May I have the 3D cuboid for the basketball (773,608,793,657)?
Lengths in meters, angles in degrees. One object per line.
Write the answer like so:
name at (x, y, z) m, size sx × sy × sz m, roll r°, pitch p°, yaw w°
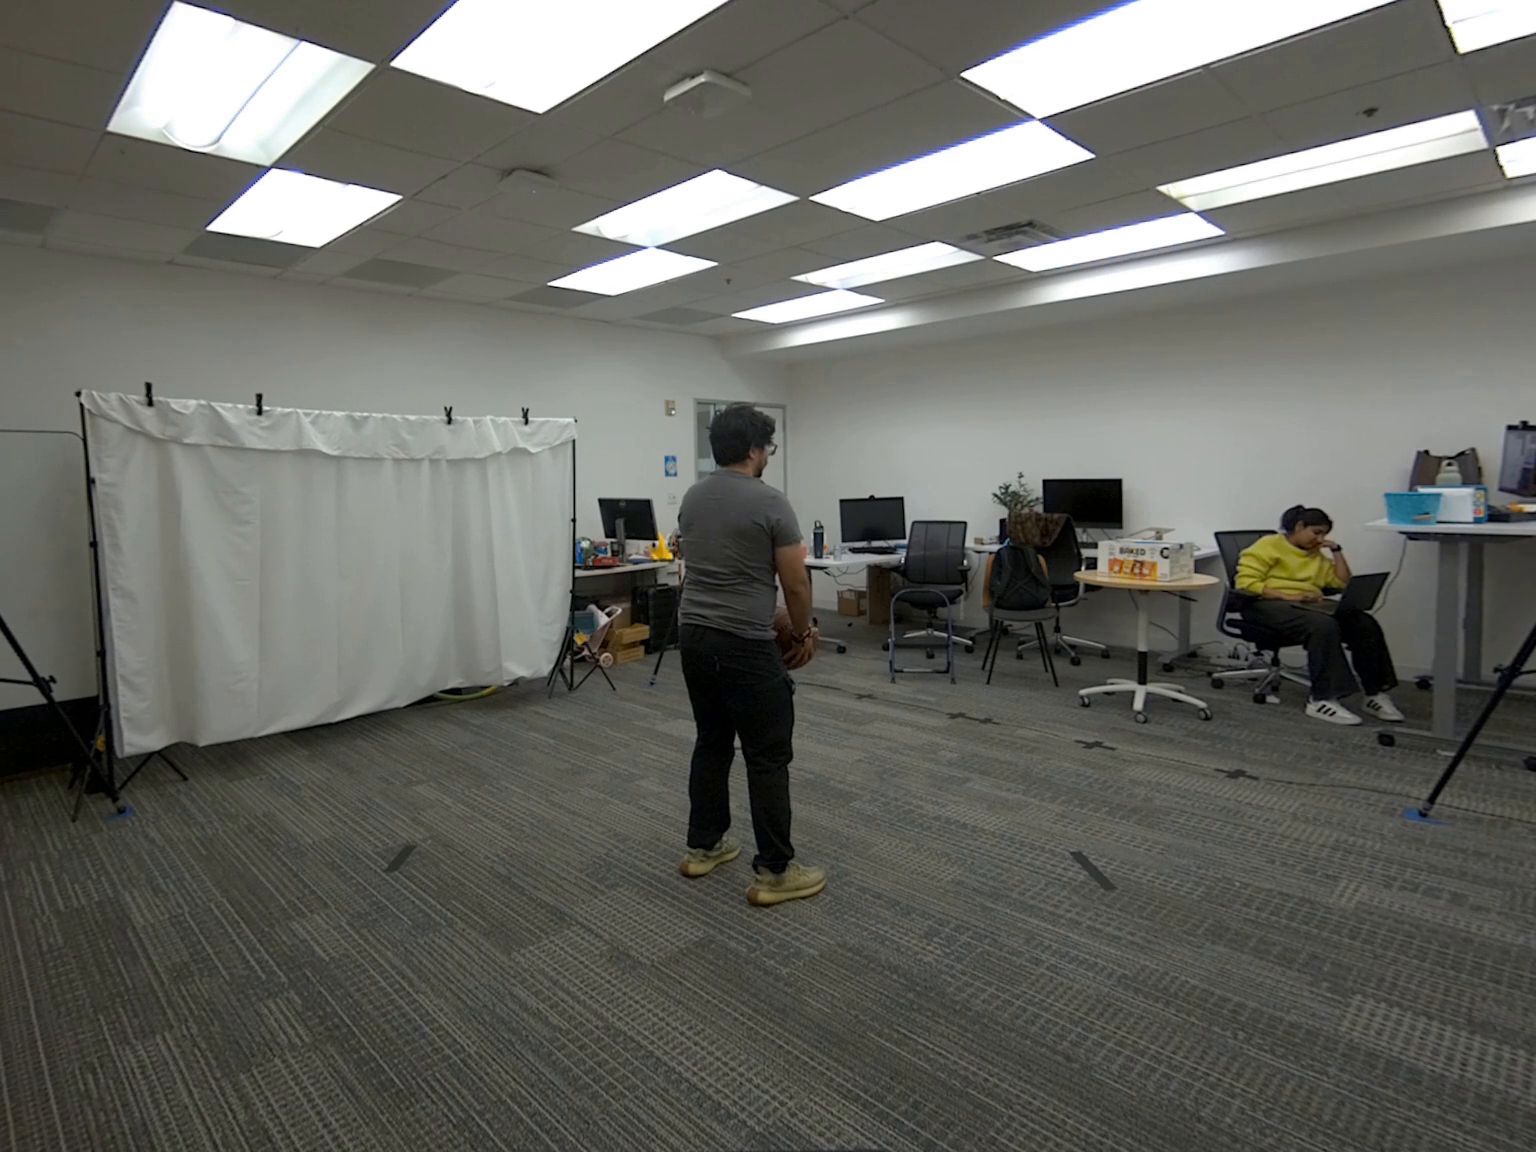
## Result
basketball at (0.083, 0.235, 3.214) m, size 0.236 × 0.235 × 0.237 m, roll -1°, pitch 5°, yaw -2°
